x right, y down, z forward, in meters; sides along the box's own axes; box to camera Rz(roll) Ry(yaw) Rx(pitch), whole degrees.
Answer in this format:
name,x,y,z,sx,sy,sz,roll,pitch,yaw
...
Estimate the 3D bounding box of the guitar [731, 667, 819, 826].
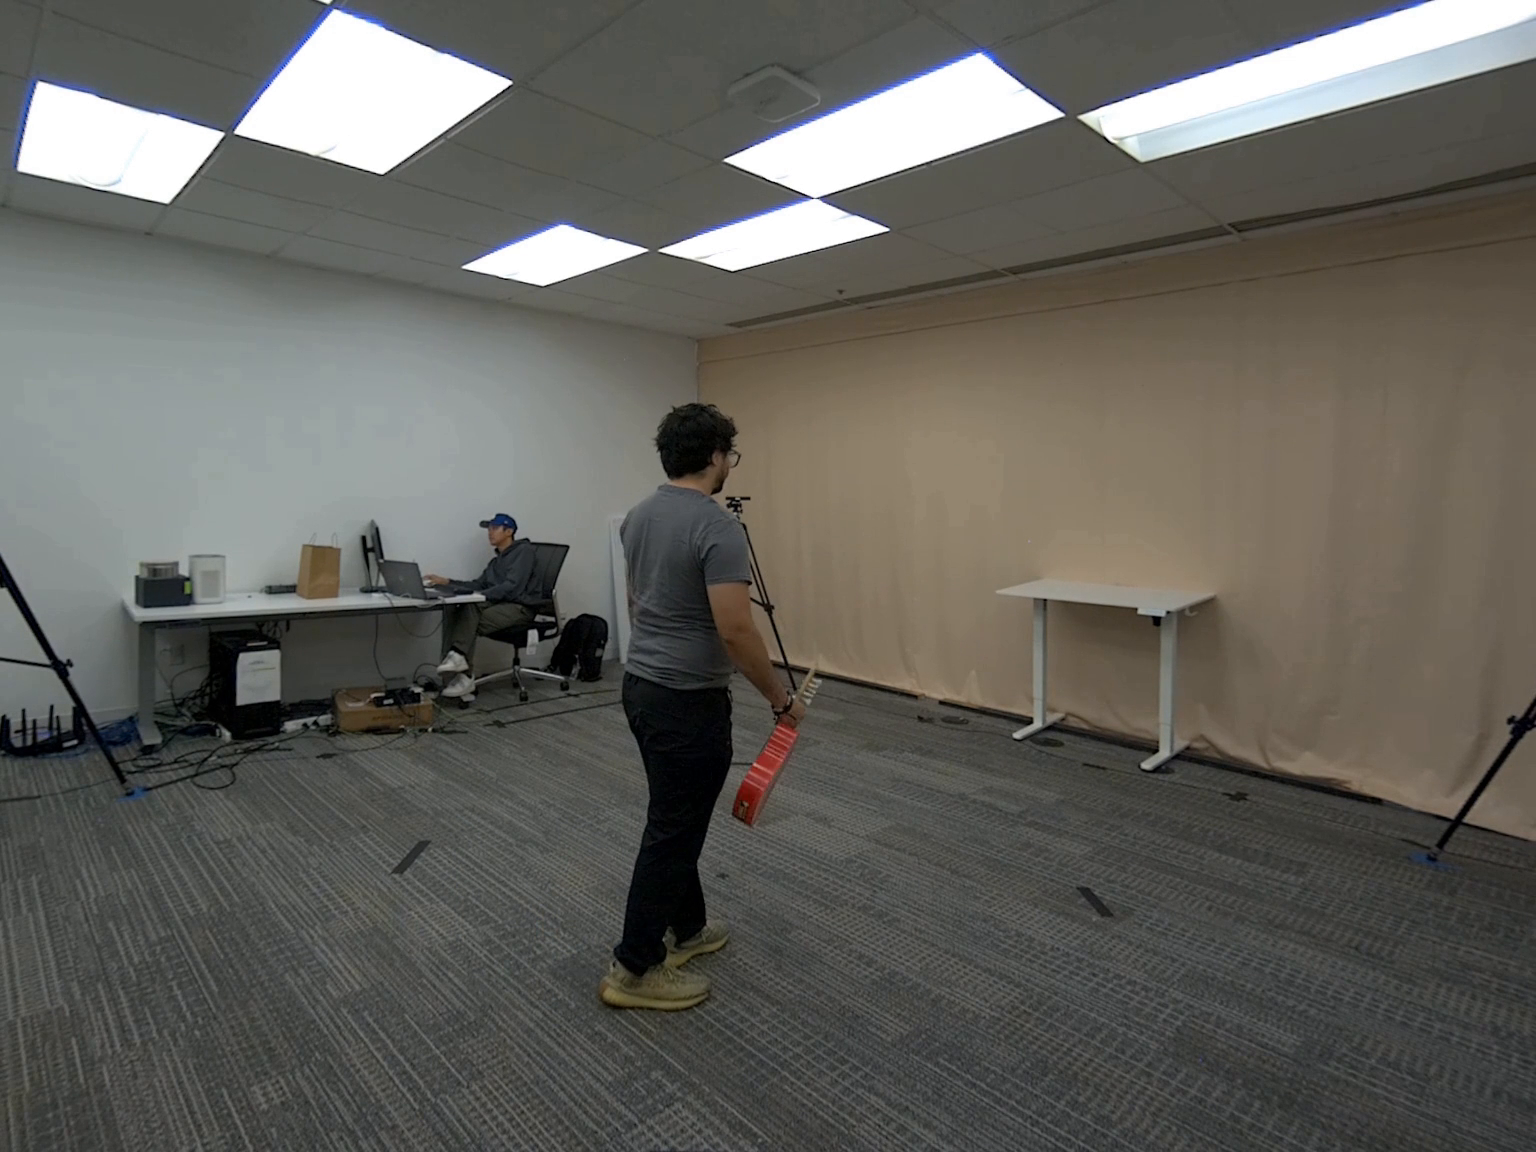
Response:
name,x,y,z,sx,sy,sz,roll,pitch,yaw
guitar,0.031,0.412,2.241,0.072,0.500,0.189,23,-33,12
